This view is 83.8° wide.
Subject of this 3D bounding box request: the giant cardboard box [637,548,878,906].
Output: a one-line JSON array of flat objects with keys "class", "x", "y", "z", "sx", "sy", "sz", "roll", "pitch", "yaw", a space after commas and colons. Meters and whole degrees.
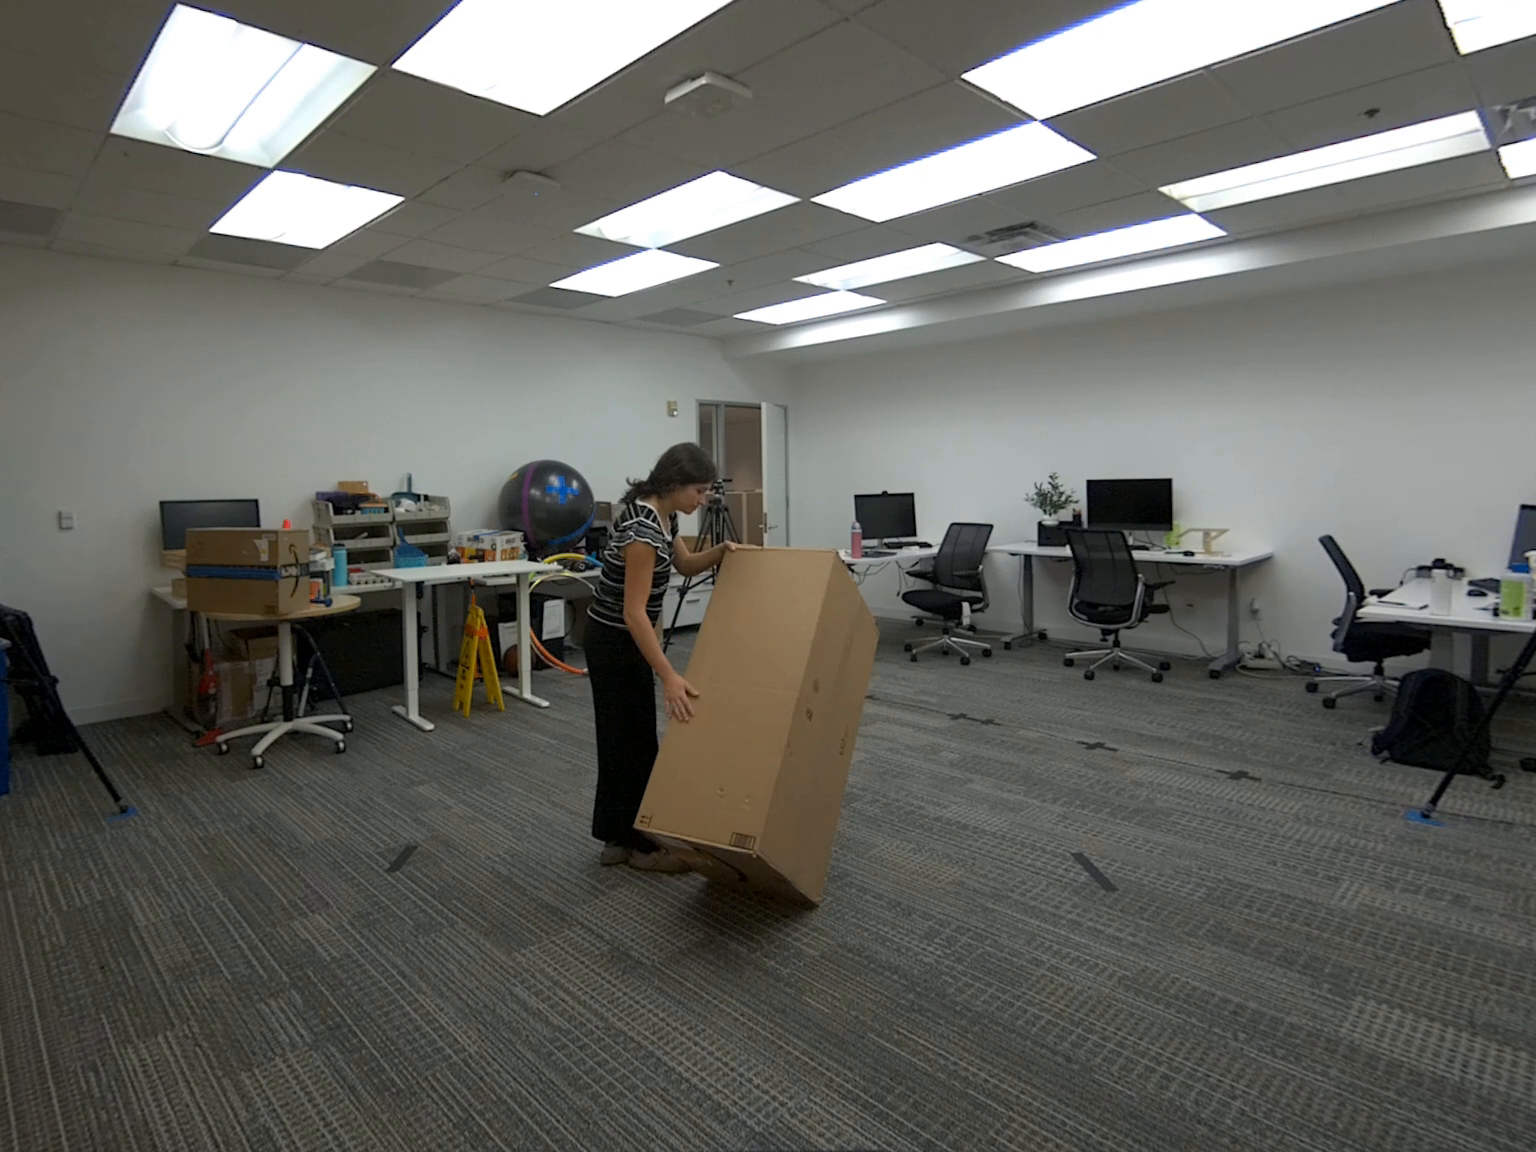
[{"class": "giant cardboard box", "x": 0.008, "y": 0.486, "z": 2.928, "sx": 0.437, "sy": 1.040, "sz": 0.555, "roll": 1, "pitch": -33, "yaw": 28}]
